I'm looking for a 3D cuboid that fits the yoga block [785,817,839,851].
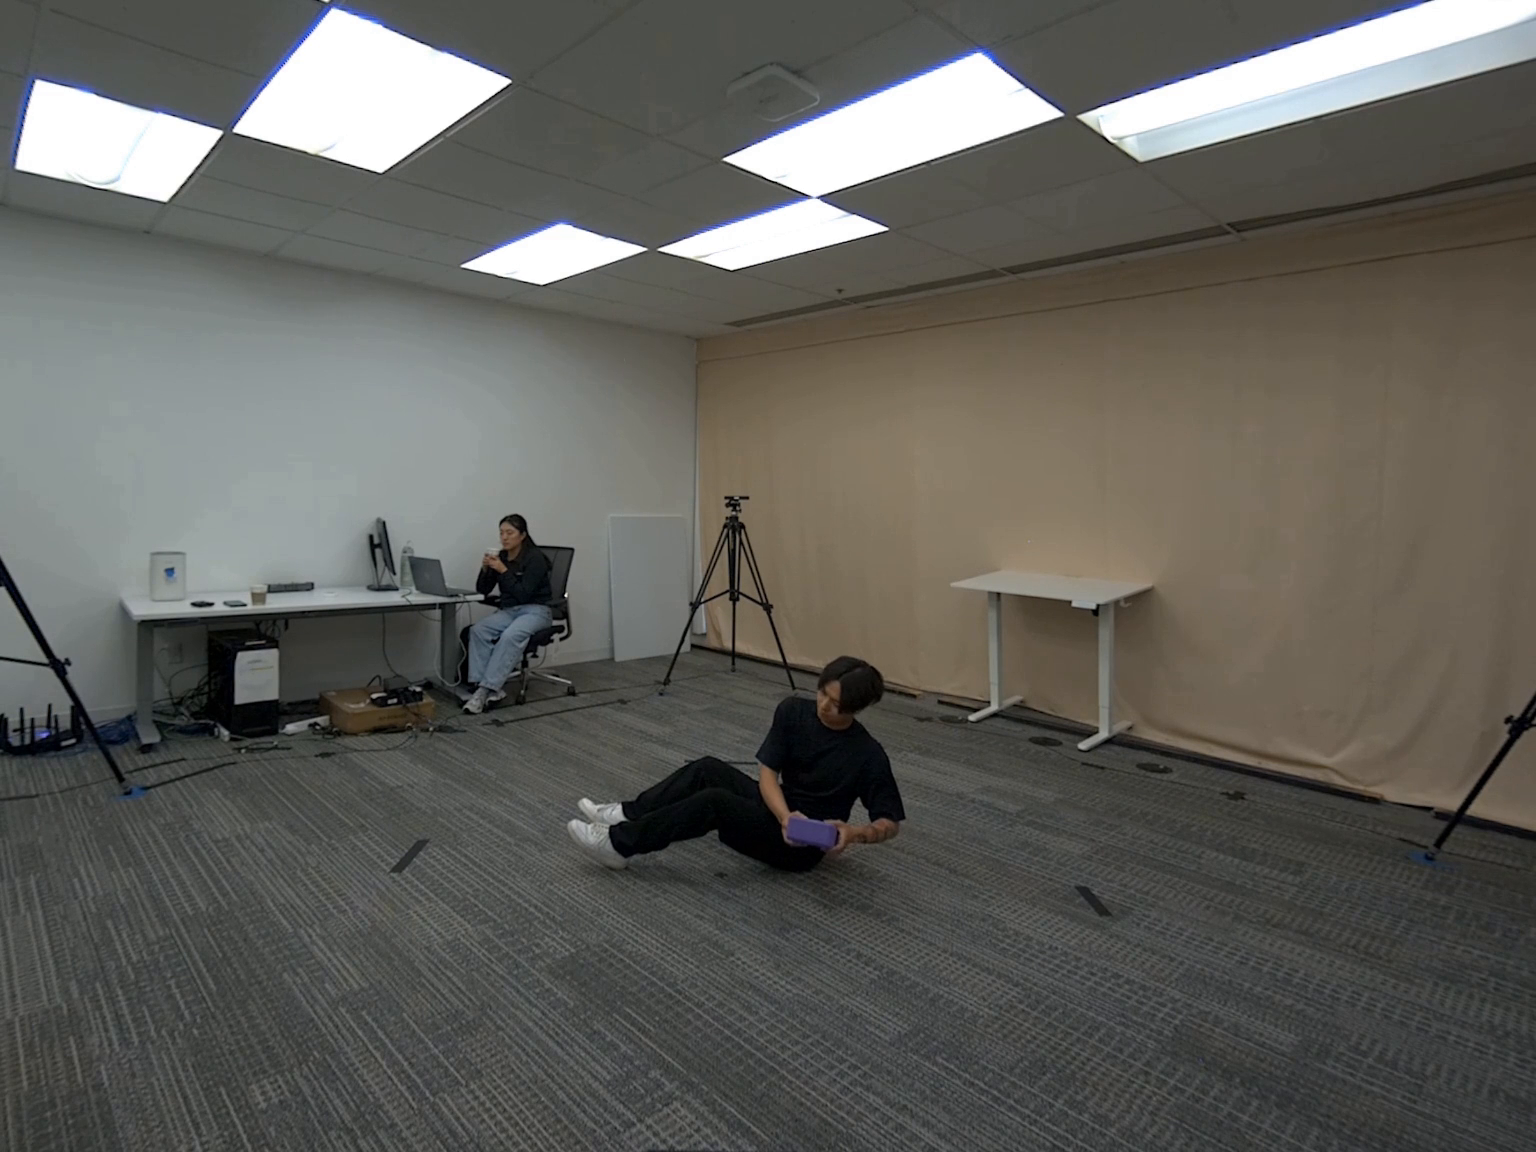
[{"bbox_3d":[0.145,0.866,2.840,0.151,0.077,0.224,7,-16,16],"label":"yoga block"}]
